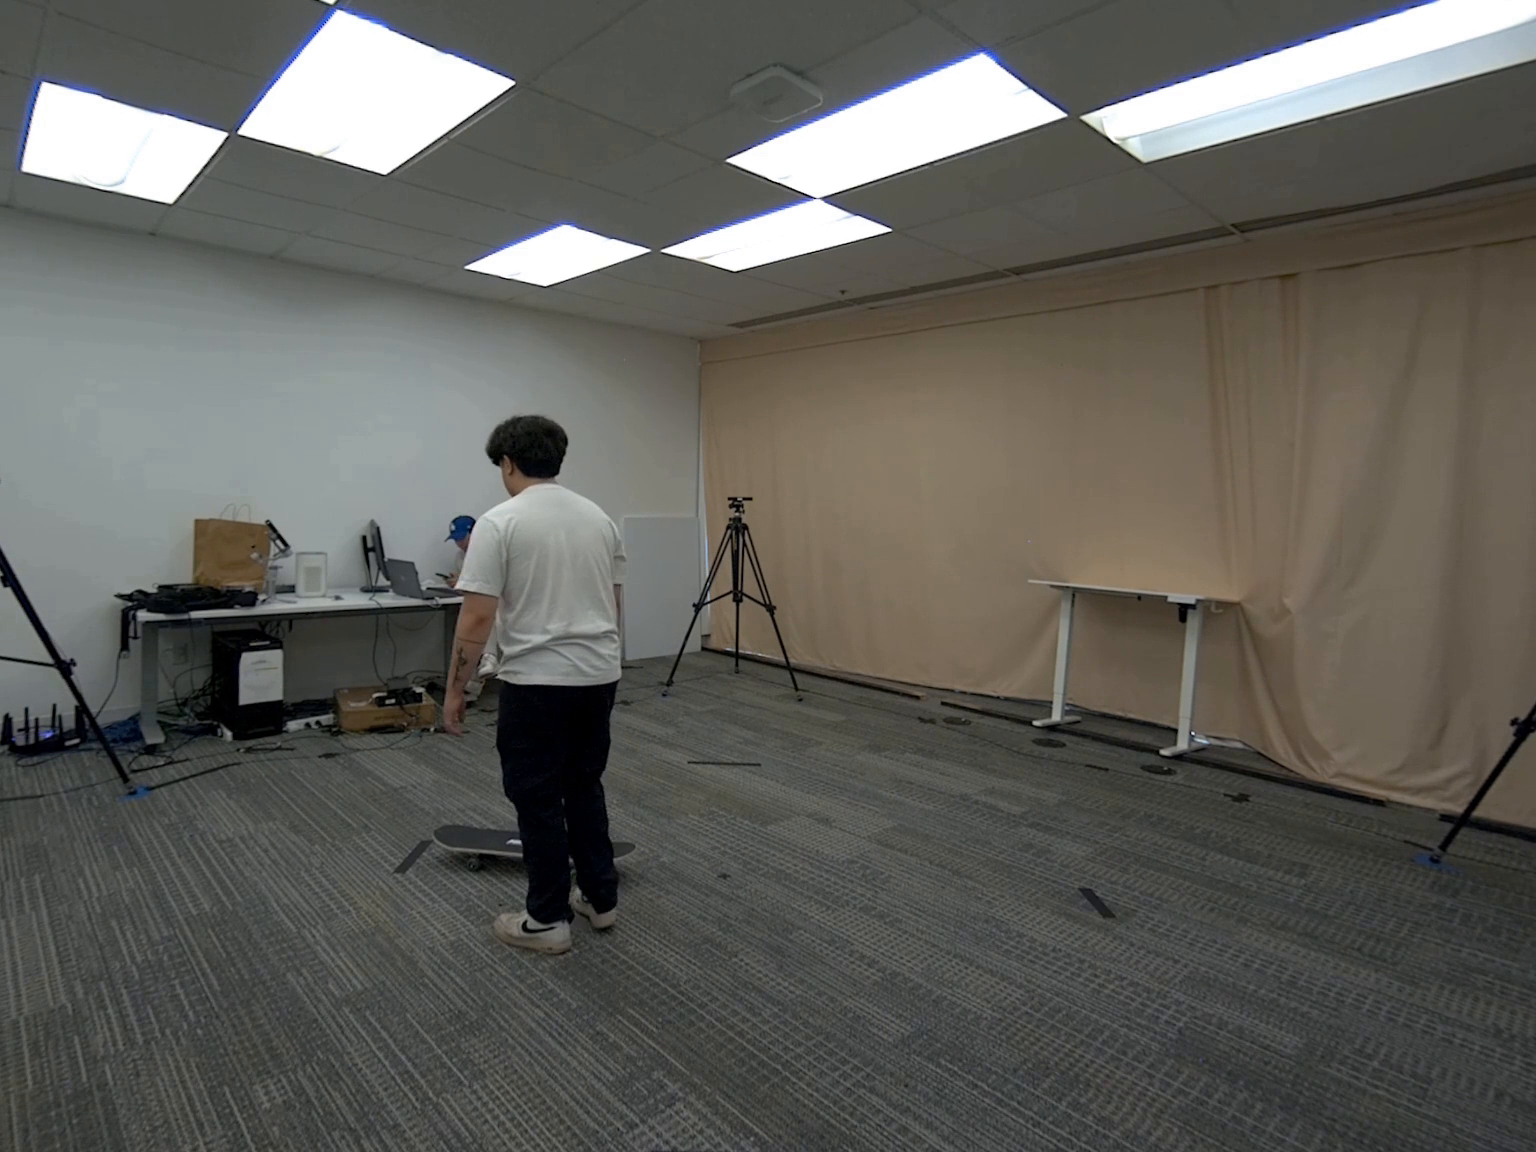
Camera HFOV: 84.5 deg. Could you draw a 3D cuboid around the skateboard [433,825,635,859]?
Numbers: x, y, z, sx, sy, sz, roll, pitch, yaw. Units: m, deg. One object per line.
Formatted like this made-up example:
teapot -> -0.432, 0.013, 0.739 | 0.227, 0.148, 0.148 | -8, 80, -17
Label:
skateboard -> -0.878, 1.033, 3.130 | 0.793, 0.110, 0.192 | 3, 5, 11
